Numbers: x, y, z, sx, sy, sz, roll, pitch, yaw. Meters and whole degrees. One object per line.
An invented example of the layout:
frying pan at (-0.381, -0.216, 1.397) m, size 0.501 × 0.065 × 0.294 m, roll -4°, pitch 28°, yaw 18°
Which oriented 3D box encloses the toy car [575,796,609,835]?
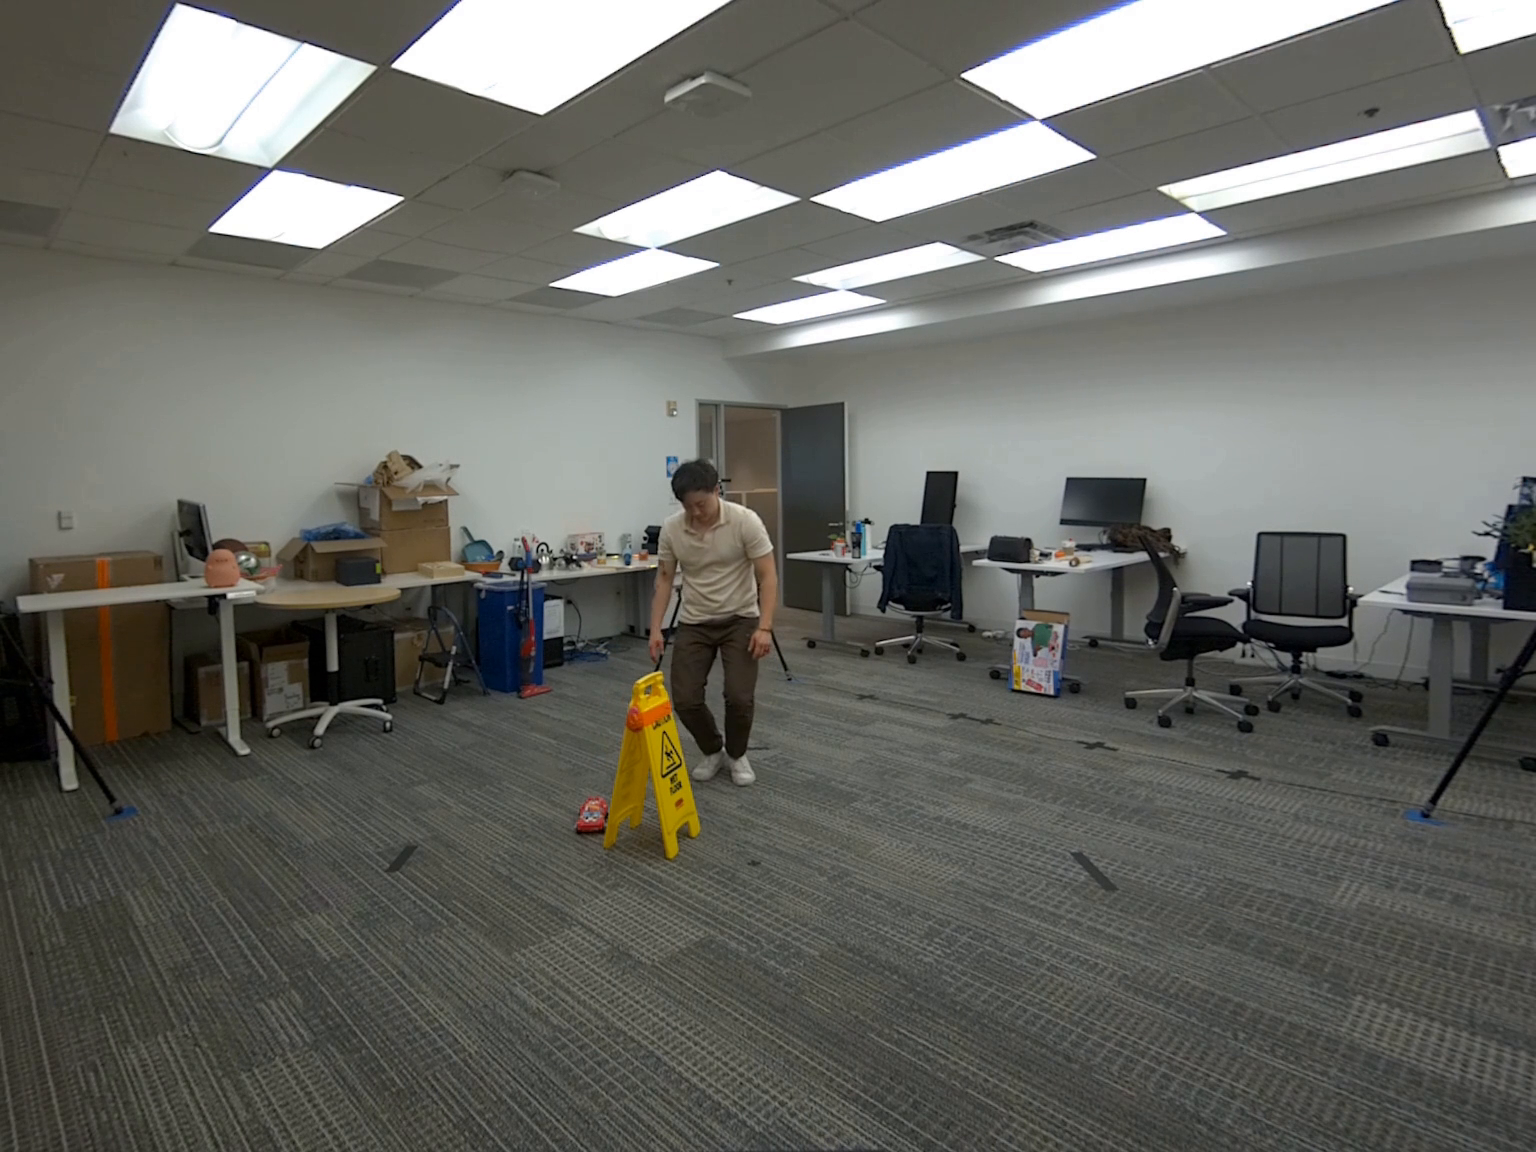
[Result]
toy car at (-0.719, 0.980, 3.504) m, size 0.130 × 0.082 × 0.259 m, roll -2°, pitch 18°, yaw -5°
